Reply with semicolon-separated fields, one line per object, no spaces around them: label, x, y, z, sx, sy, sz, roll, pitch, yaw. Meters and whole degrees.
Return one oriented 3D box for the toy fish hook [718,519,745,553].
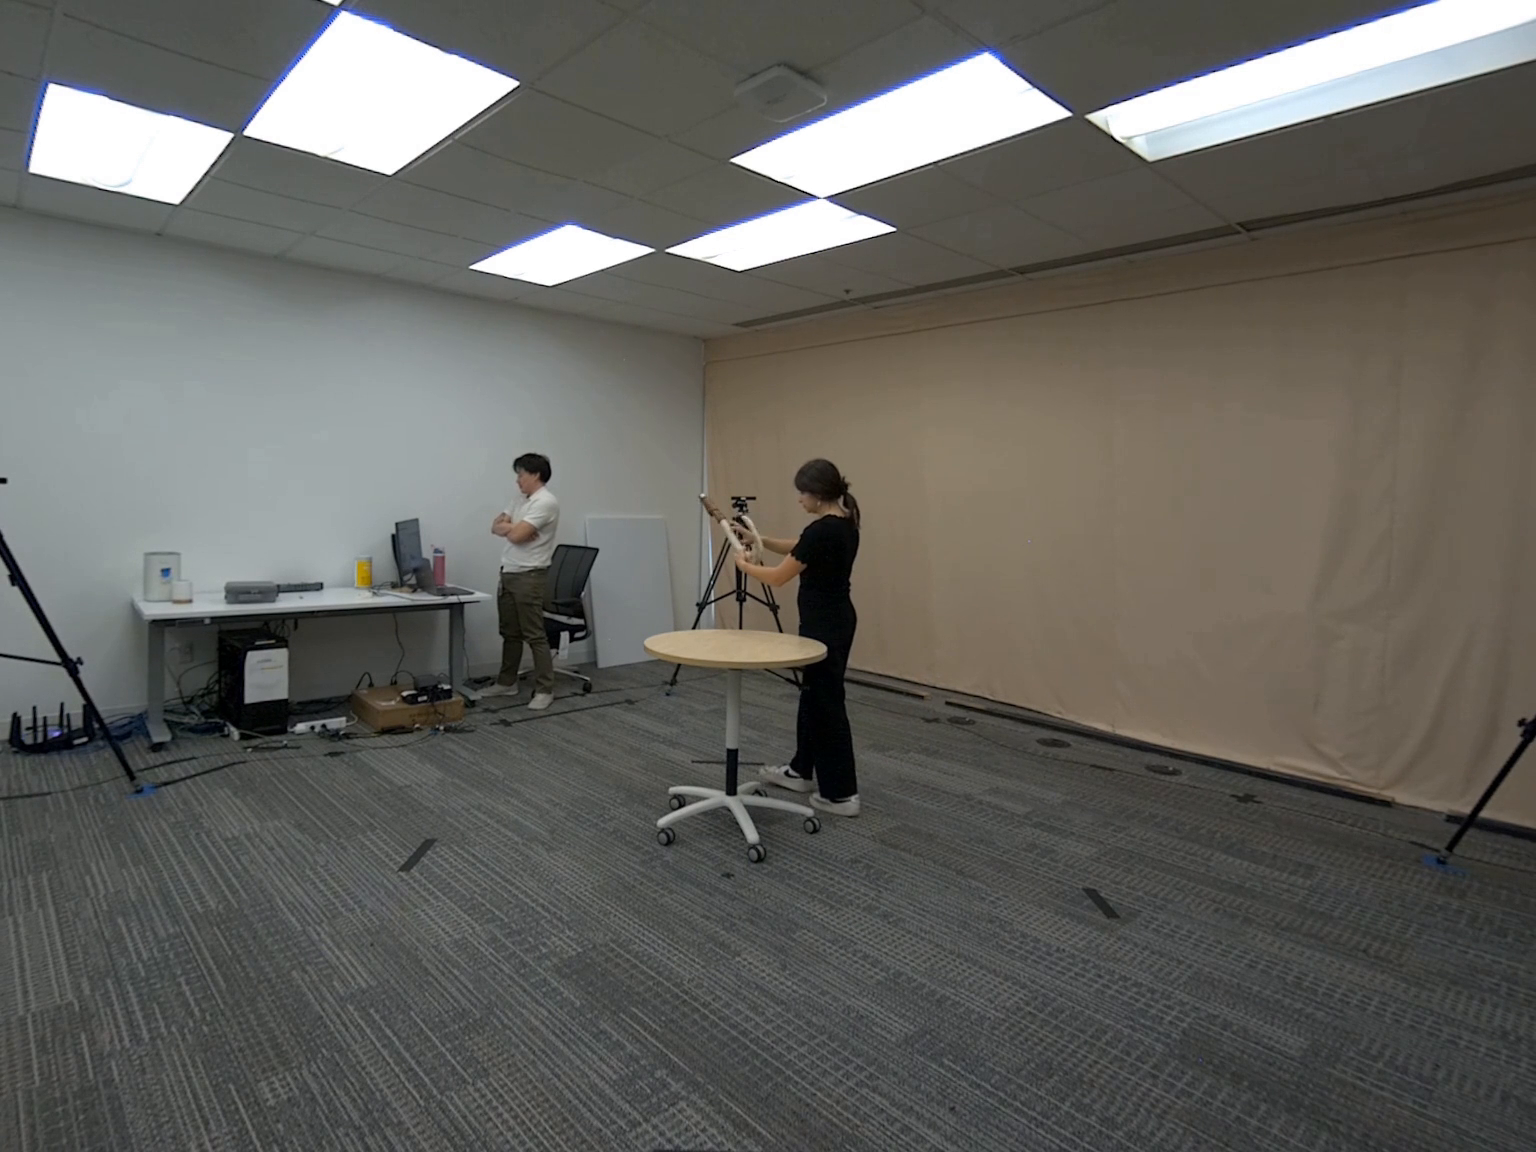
toy fish hook;-0.170;-0.253;3.970;0.047;0.223;0.520;-11;51;-40
